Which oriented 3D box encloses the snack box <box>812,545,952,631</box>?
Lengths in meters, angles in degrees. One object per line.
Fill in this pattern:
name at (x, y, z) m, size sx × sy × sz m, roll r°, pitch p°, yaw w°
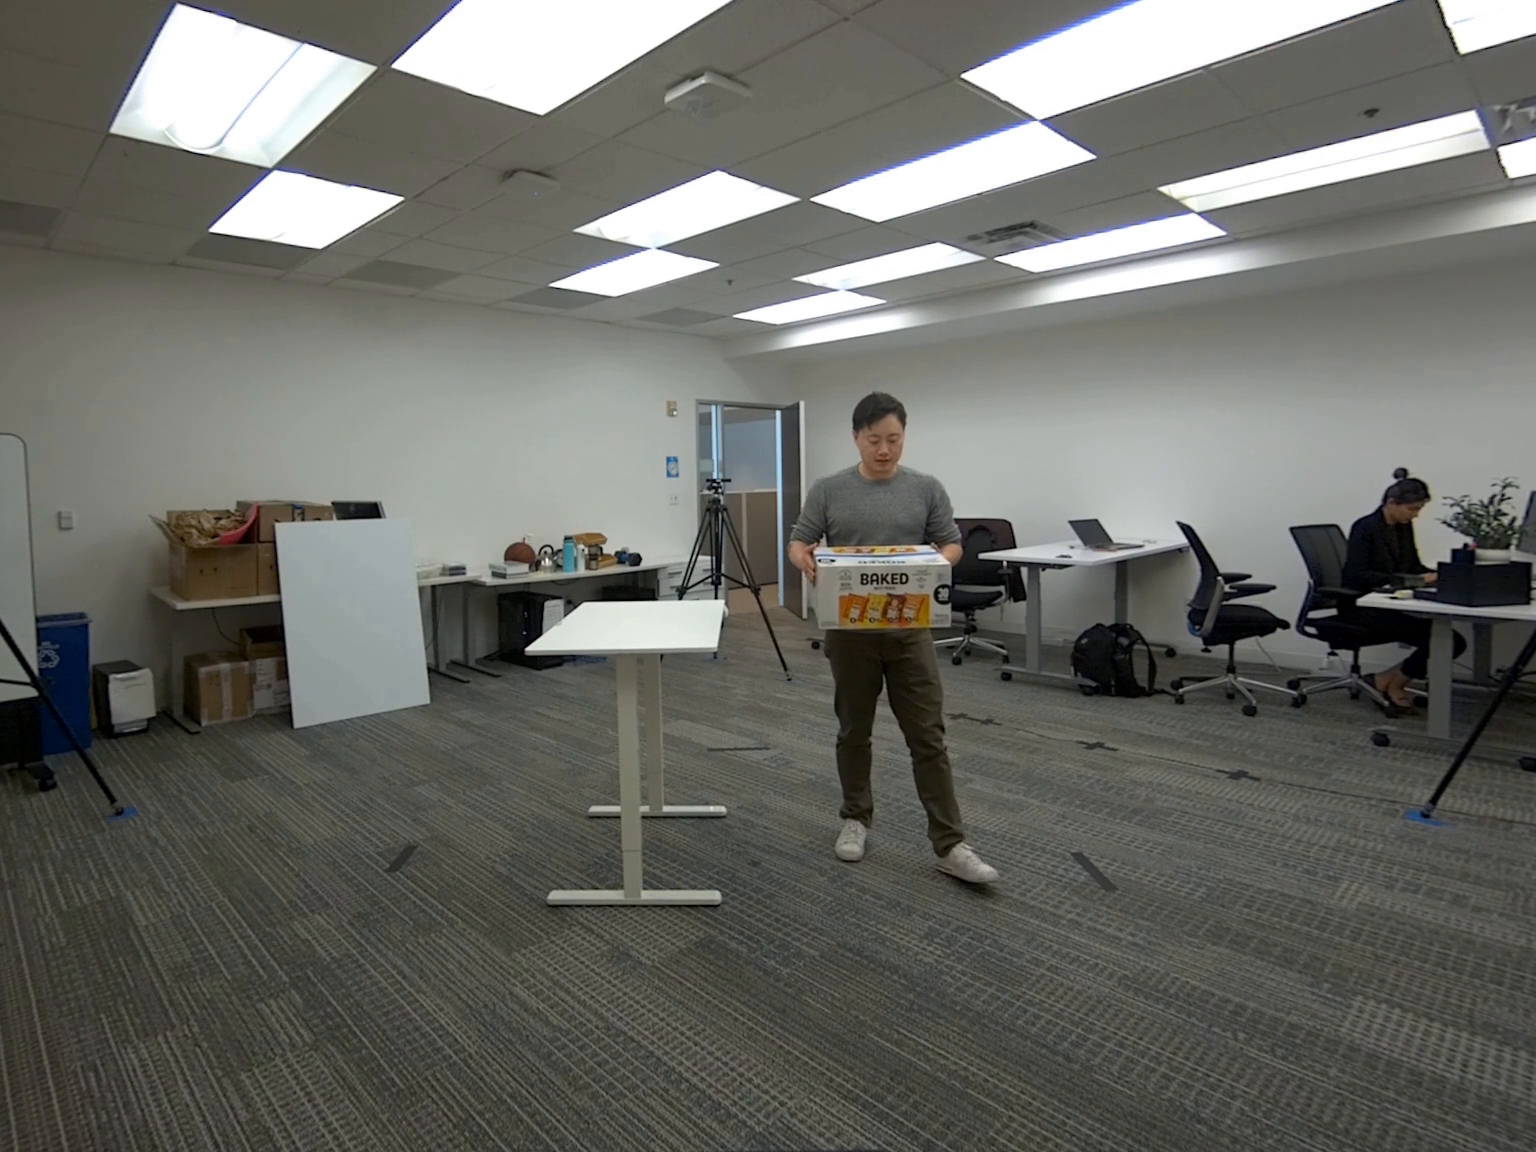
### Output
snack box at (0.360, 0.032, 2.765) m, size 0.407 × 0.204 × 0.341 m, roll -1°, pitch 10°, yaw 4°
